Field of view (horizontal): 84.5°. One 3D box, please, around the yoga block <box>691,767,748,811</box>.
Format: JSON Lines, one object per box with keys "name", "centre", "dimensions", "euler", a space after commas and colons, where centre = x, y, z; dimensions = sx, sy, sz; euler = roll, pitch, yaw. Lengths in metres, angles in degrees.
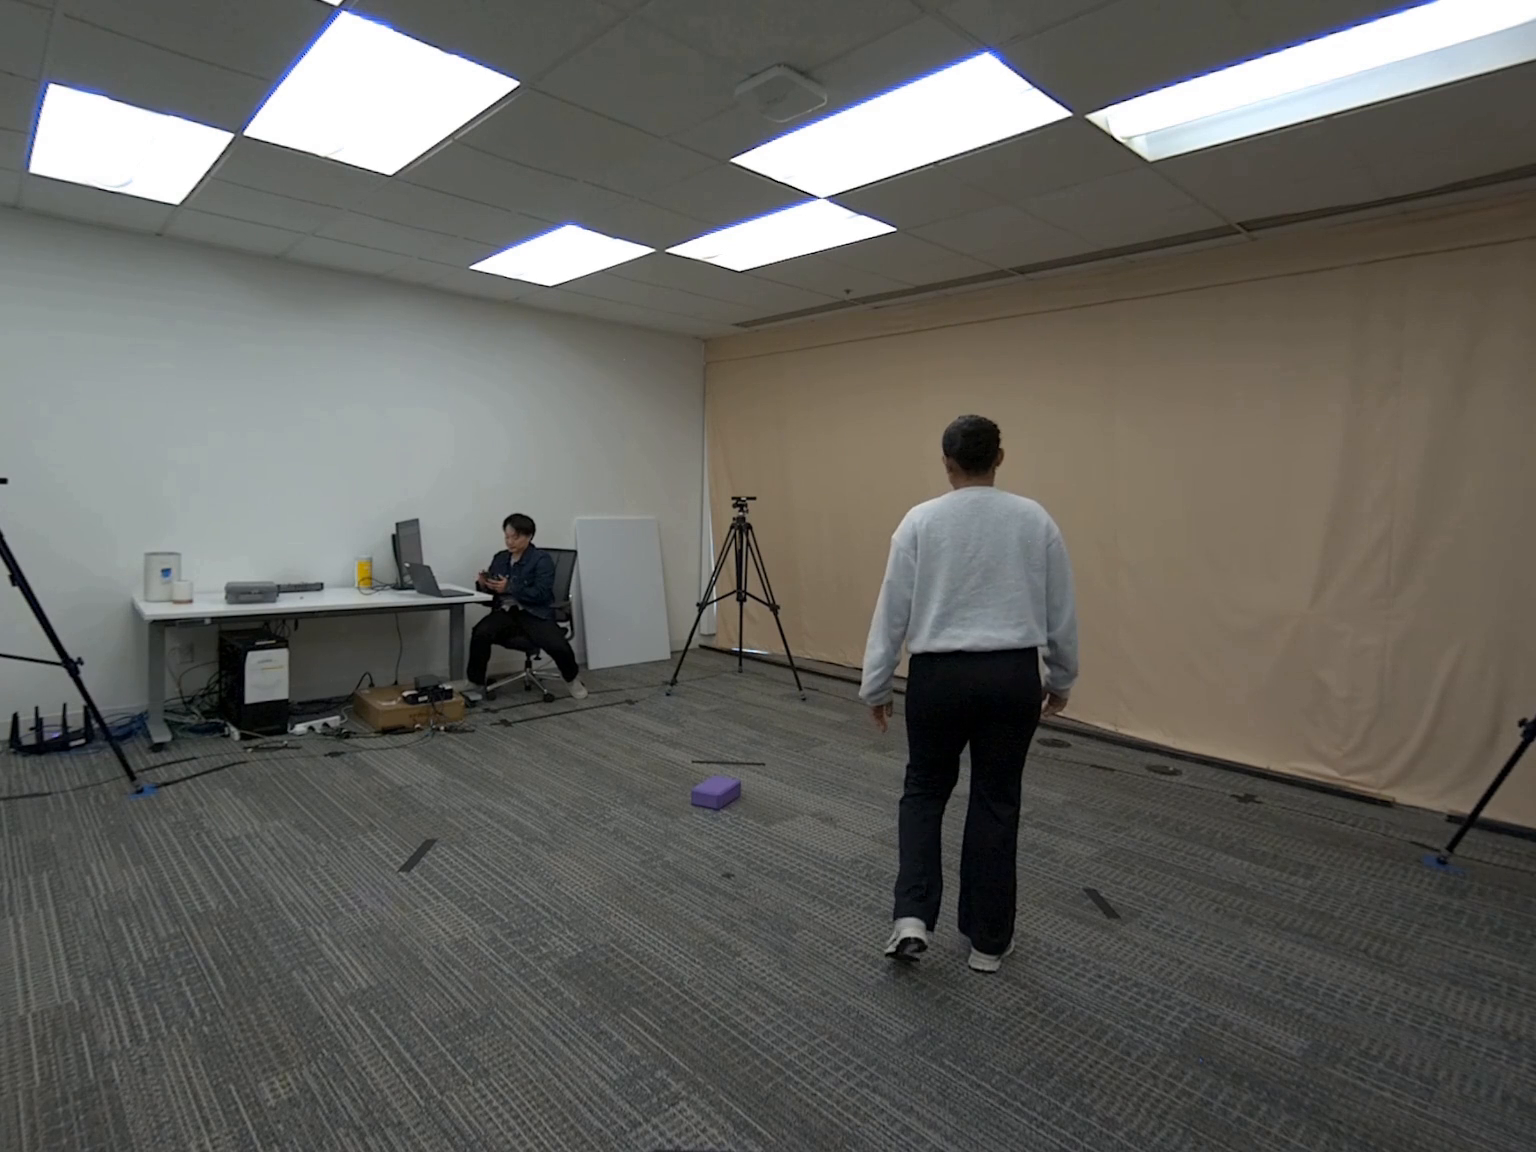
{"name": "yoga block", "centre": [-0.251, 0.998, 3.886], "dimensions": [0.152, 0.076, 0.225], "euler": [4, 6, 25]}
